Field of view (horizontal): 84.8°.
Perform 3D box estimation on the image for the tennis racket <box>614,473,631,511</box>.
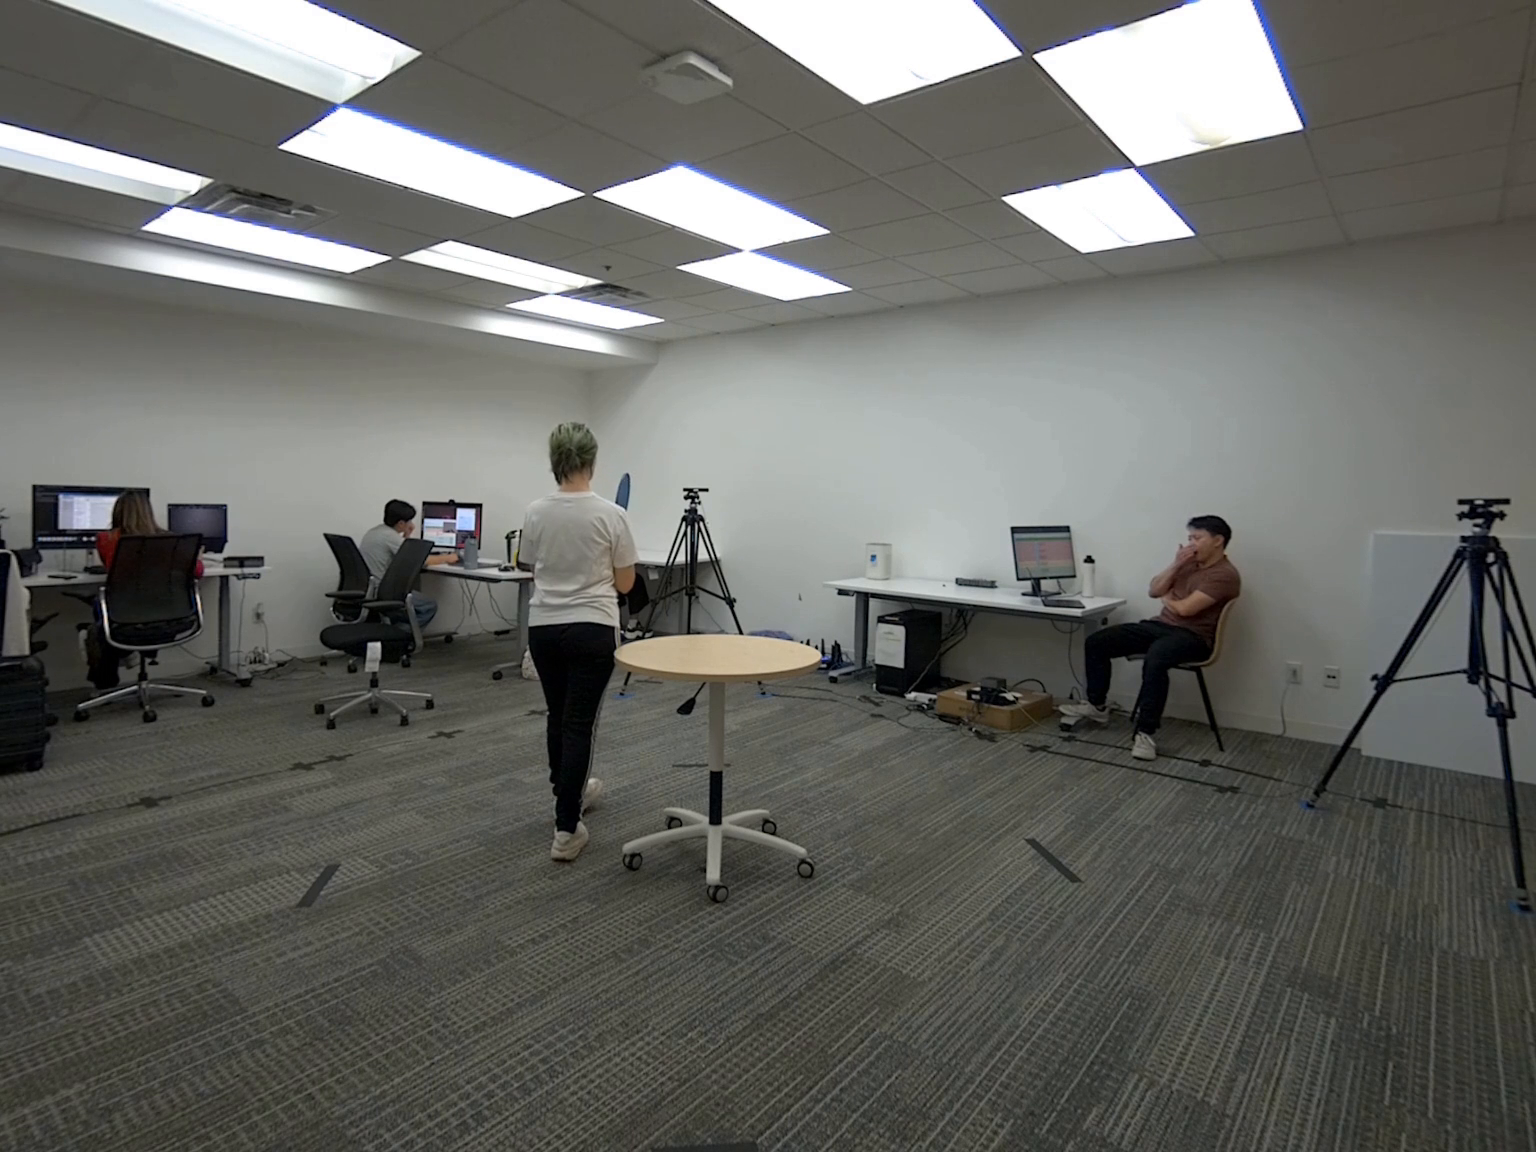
[{"bbox_3d":[-0.659,-0.258,3.633,0.032,0.442,0.208,7,-33,3],"label":"tennis racket"}]
